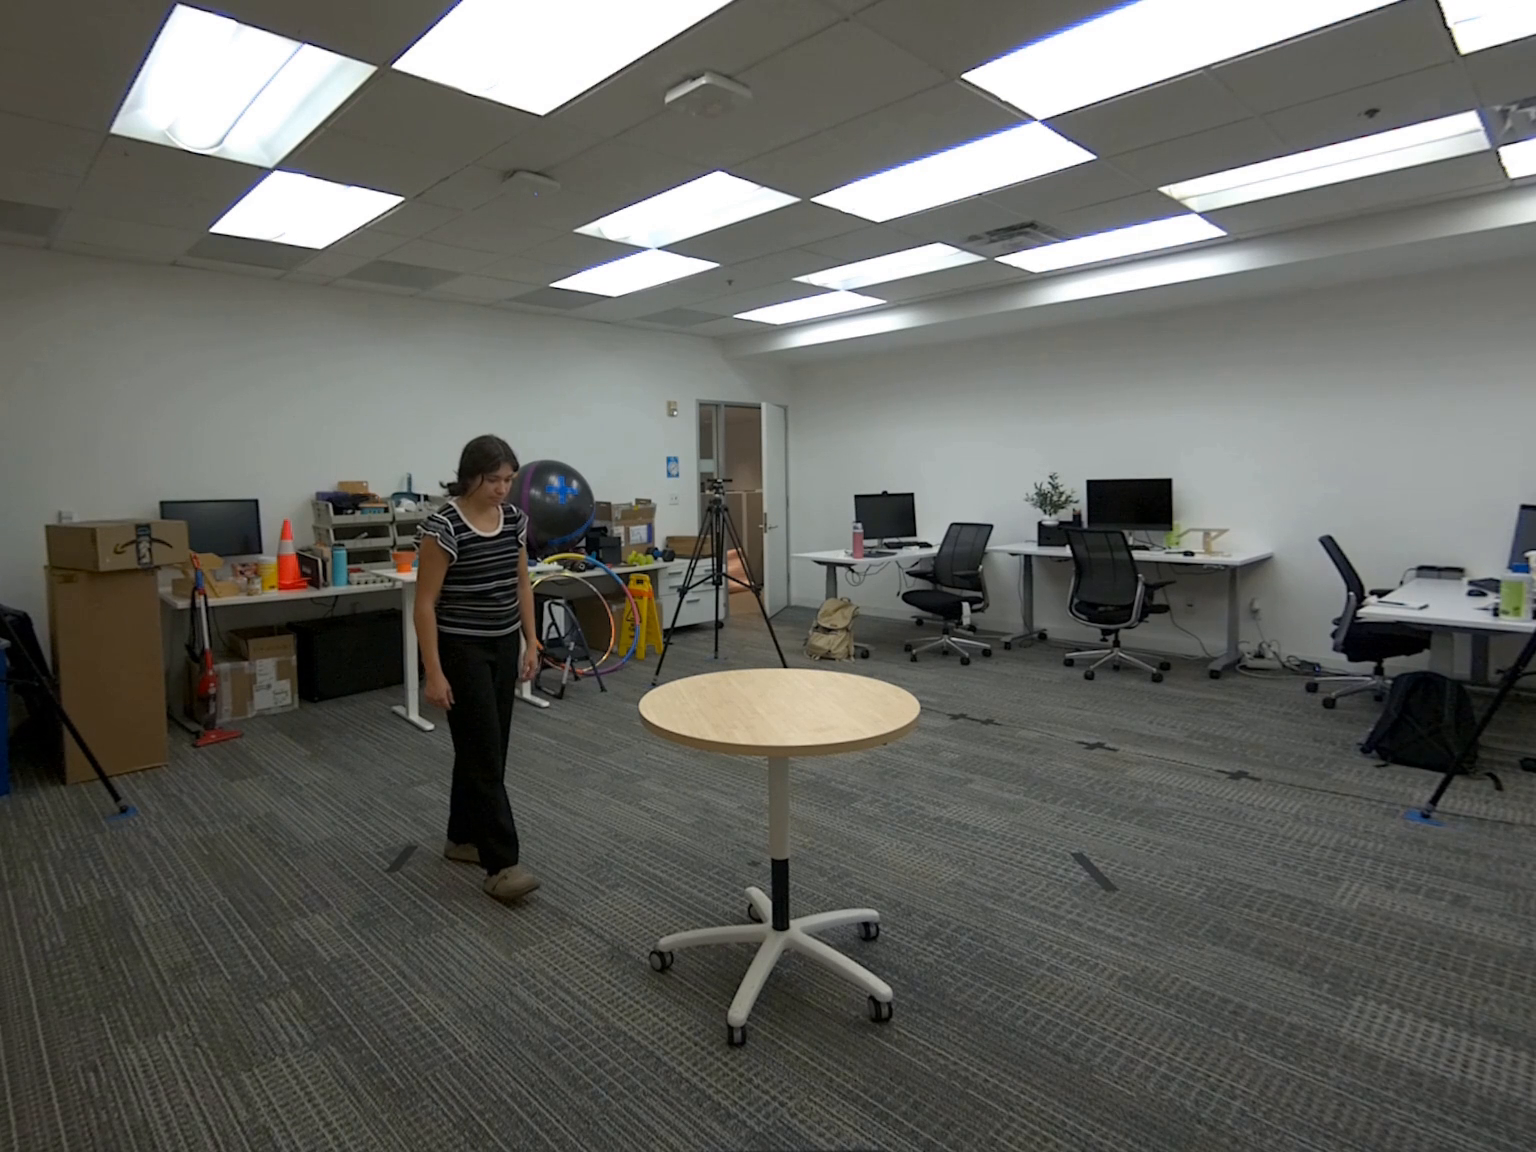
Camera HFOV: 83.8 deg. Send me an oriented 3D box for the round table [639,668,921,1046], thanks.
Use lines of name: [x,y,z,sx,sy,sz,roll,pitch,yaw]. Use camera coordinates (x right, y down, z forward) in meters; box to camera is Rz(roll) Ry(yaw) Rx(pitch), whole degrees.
round table: [0.044,0.739,2.380,0.763,0.790,0.768,-1,6,-2]
